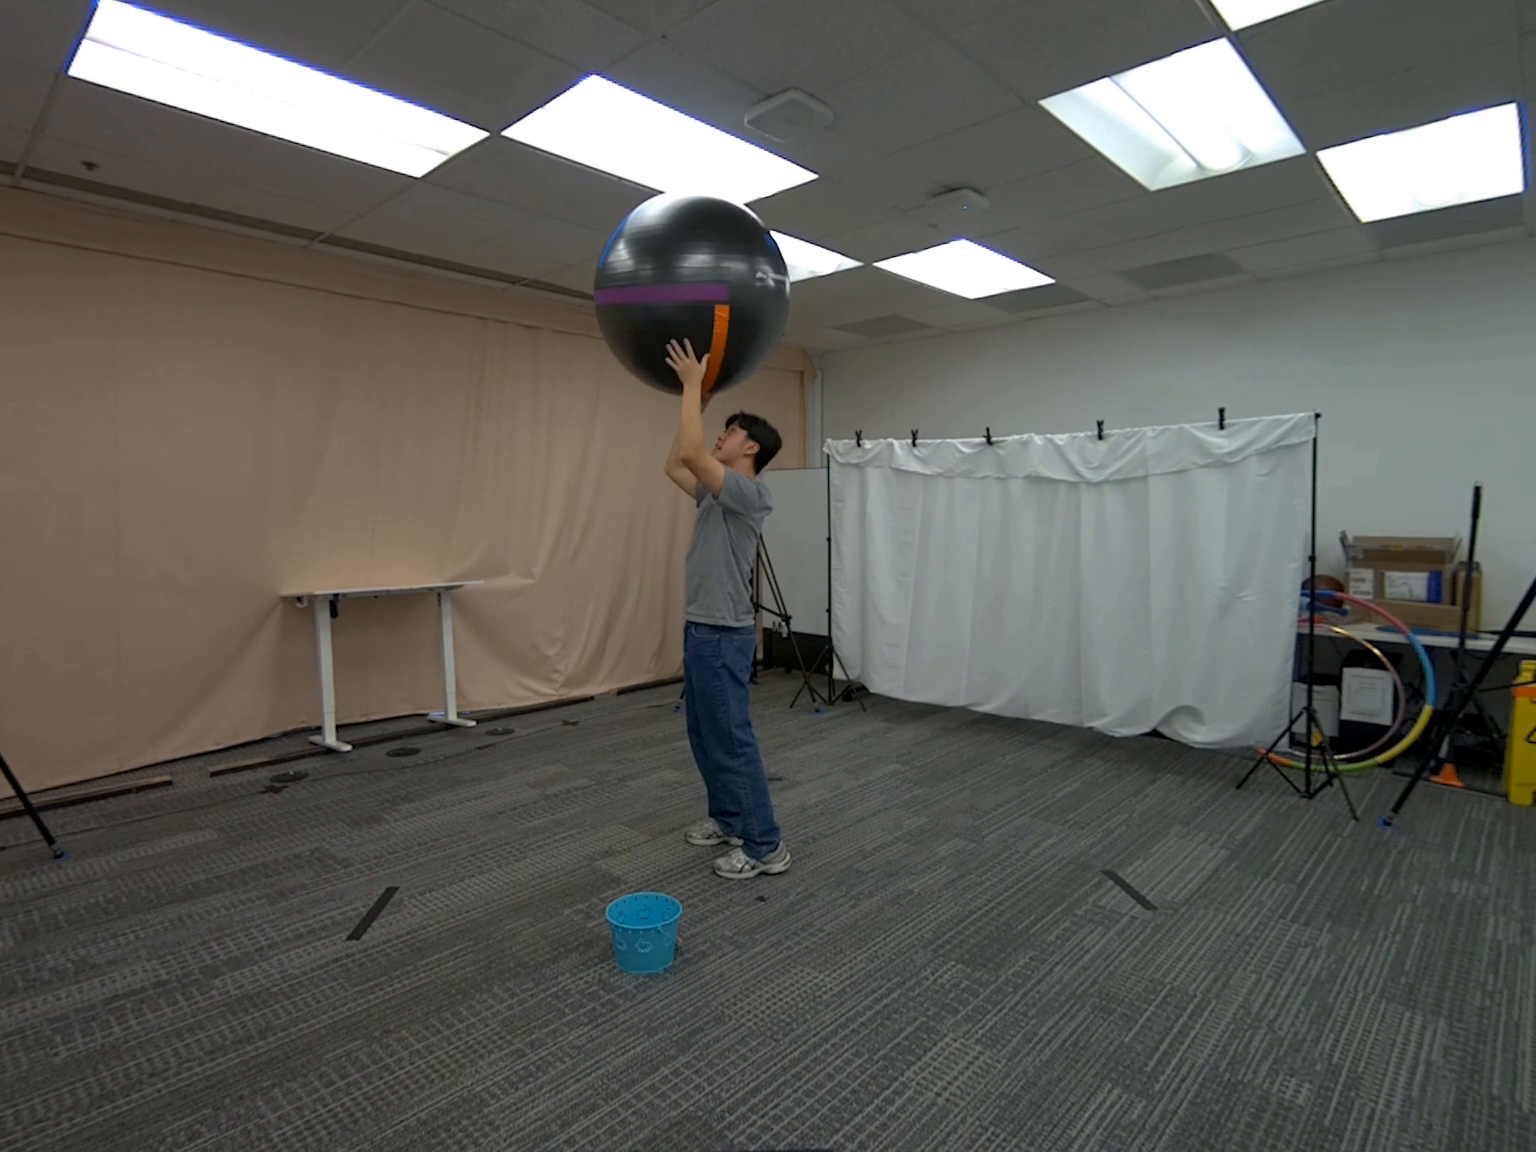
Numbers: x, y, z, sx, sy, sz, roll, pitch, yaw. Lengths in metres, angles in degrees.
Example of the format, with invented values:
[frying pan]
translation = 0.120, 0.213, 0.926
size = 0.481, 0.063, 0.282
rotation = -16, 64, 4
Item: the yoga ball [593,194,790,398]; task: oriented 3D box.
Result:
[yoga ball]
translation = -0.294, -1.077, 3.254
size = 0.757, 0.756, 0.761
rotation = 0, 4, -2
